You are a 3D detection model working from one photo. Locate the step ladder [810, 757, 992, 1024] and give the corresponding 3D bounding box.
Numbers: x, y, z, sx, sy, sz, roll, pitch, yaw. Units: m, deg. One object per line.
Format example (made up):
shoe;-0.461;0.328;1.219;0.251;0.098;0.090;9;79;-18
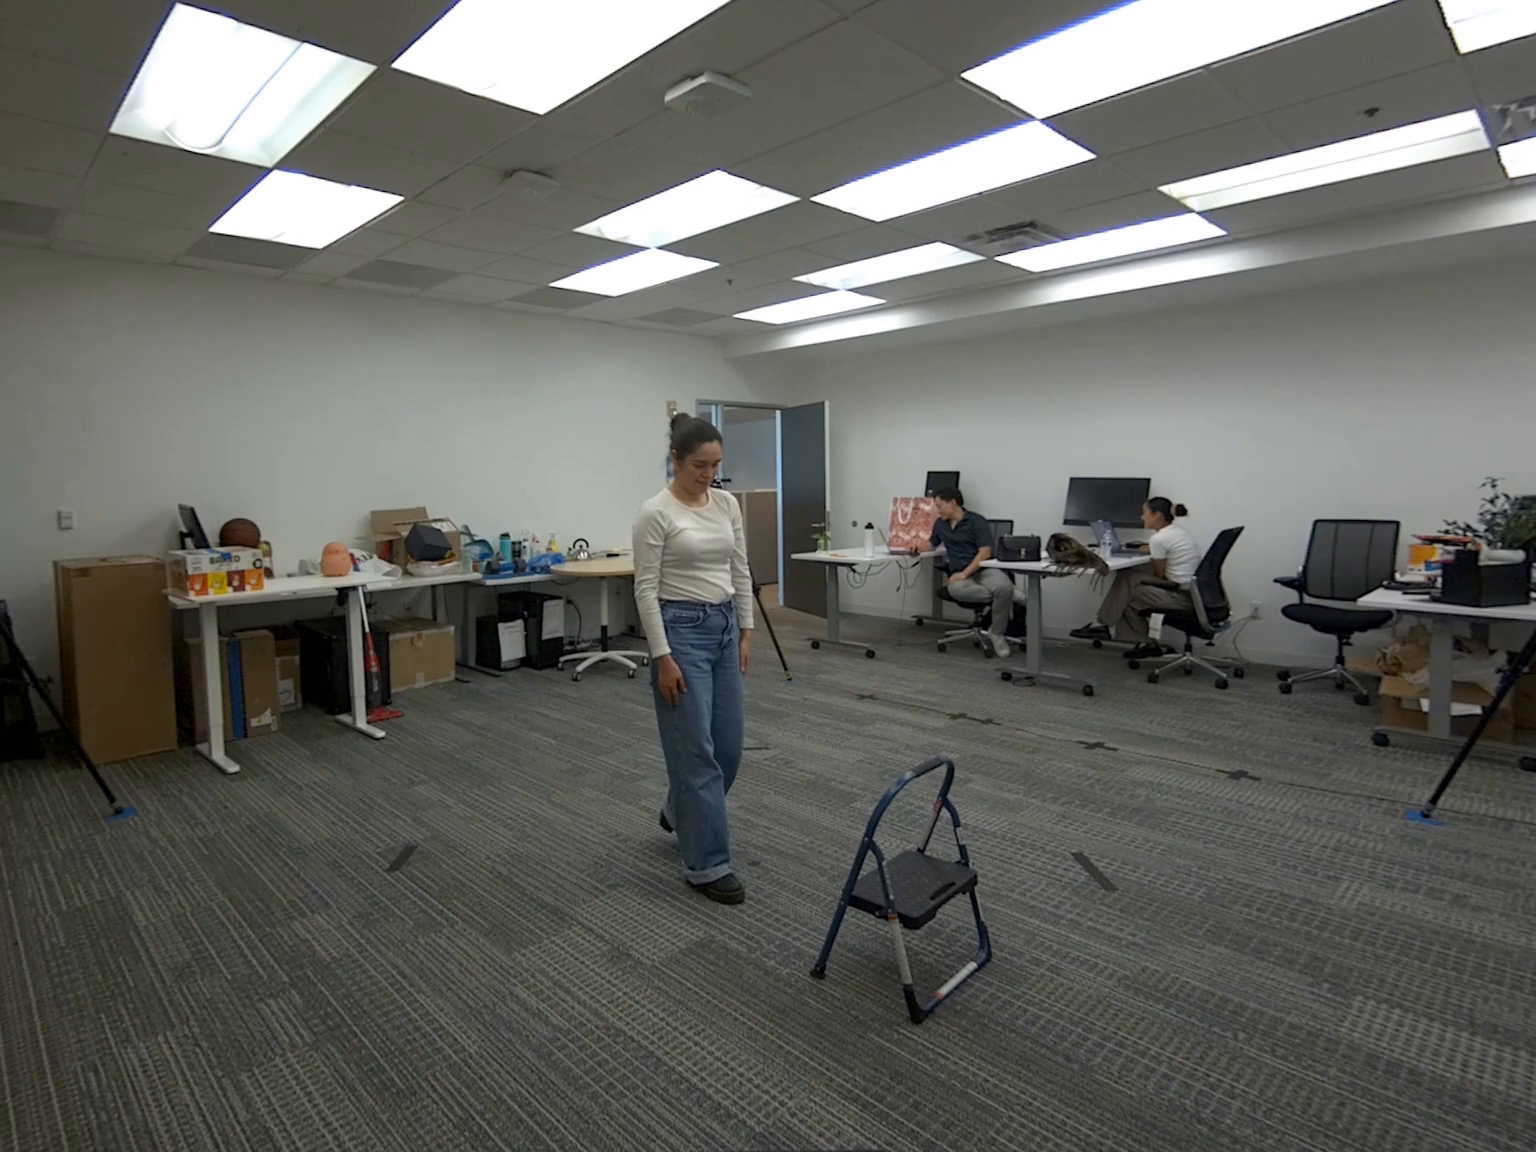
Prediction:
step ladder;0.386;0.814;2.417;0.360;0.604;0.419;3;6;41
